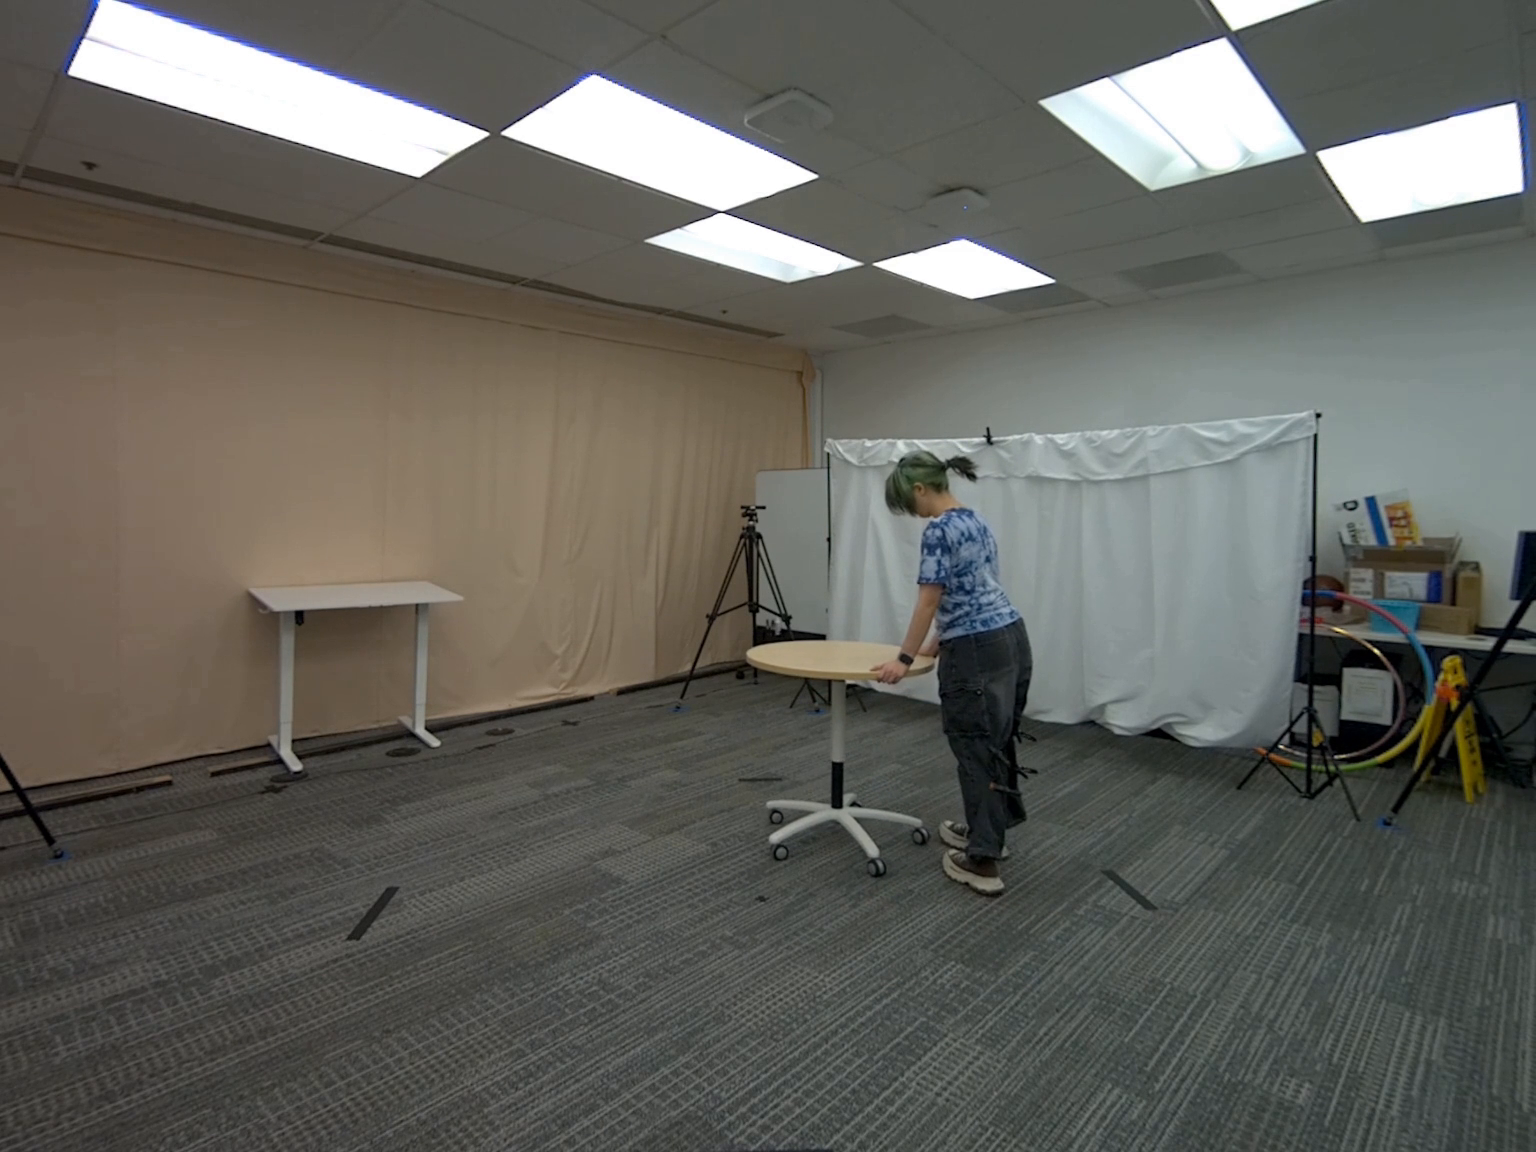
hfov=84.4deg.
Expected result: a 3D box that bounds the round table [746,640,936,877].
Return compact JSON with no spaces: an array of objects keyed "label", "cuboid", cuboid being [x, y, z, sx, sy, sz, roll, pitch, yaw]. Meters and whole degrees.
[{"label":"round table","cuboid":[0.291,0.714,3.487,0.763,0.792,0.766,1,3,-2]}]
